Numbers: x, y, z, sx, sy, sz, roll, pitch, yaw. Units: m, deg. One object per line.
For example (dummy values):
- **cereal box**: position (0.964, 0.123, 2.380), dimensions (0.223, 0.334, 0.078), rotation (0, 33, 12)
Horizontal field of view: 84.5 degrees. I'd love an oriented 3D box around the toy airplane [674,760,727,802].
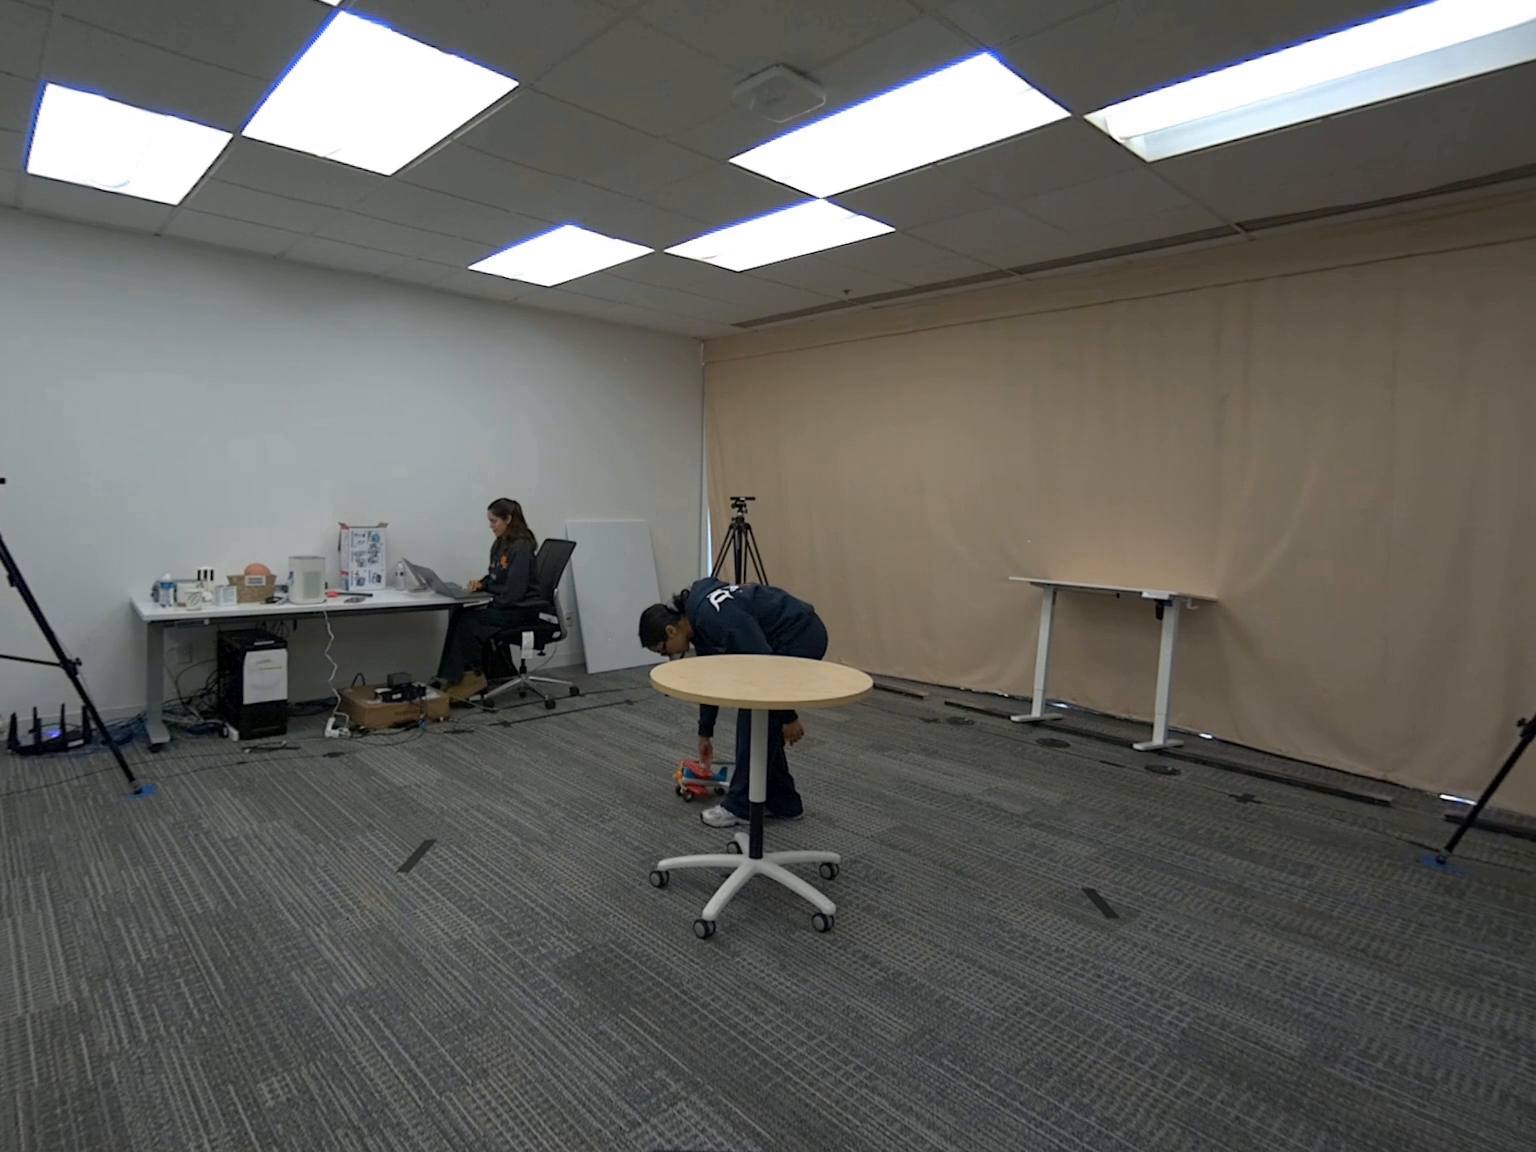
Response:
- **toy airplane**: position (-0.333, 0.952, 3.944), dimensions (0.257, 0.156, 0.254), rotation (3, 6, 36)
